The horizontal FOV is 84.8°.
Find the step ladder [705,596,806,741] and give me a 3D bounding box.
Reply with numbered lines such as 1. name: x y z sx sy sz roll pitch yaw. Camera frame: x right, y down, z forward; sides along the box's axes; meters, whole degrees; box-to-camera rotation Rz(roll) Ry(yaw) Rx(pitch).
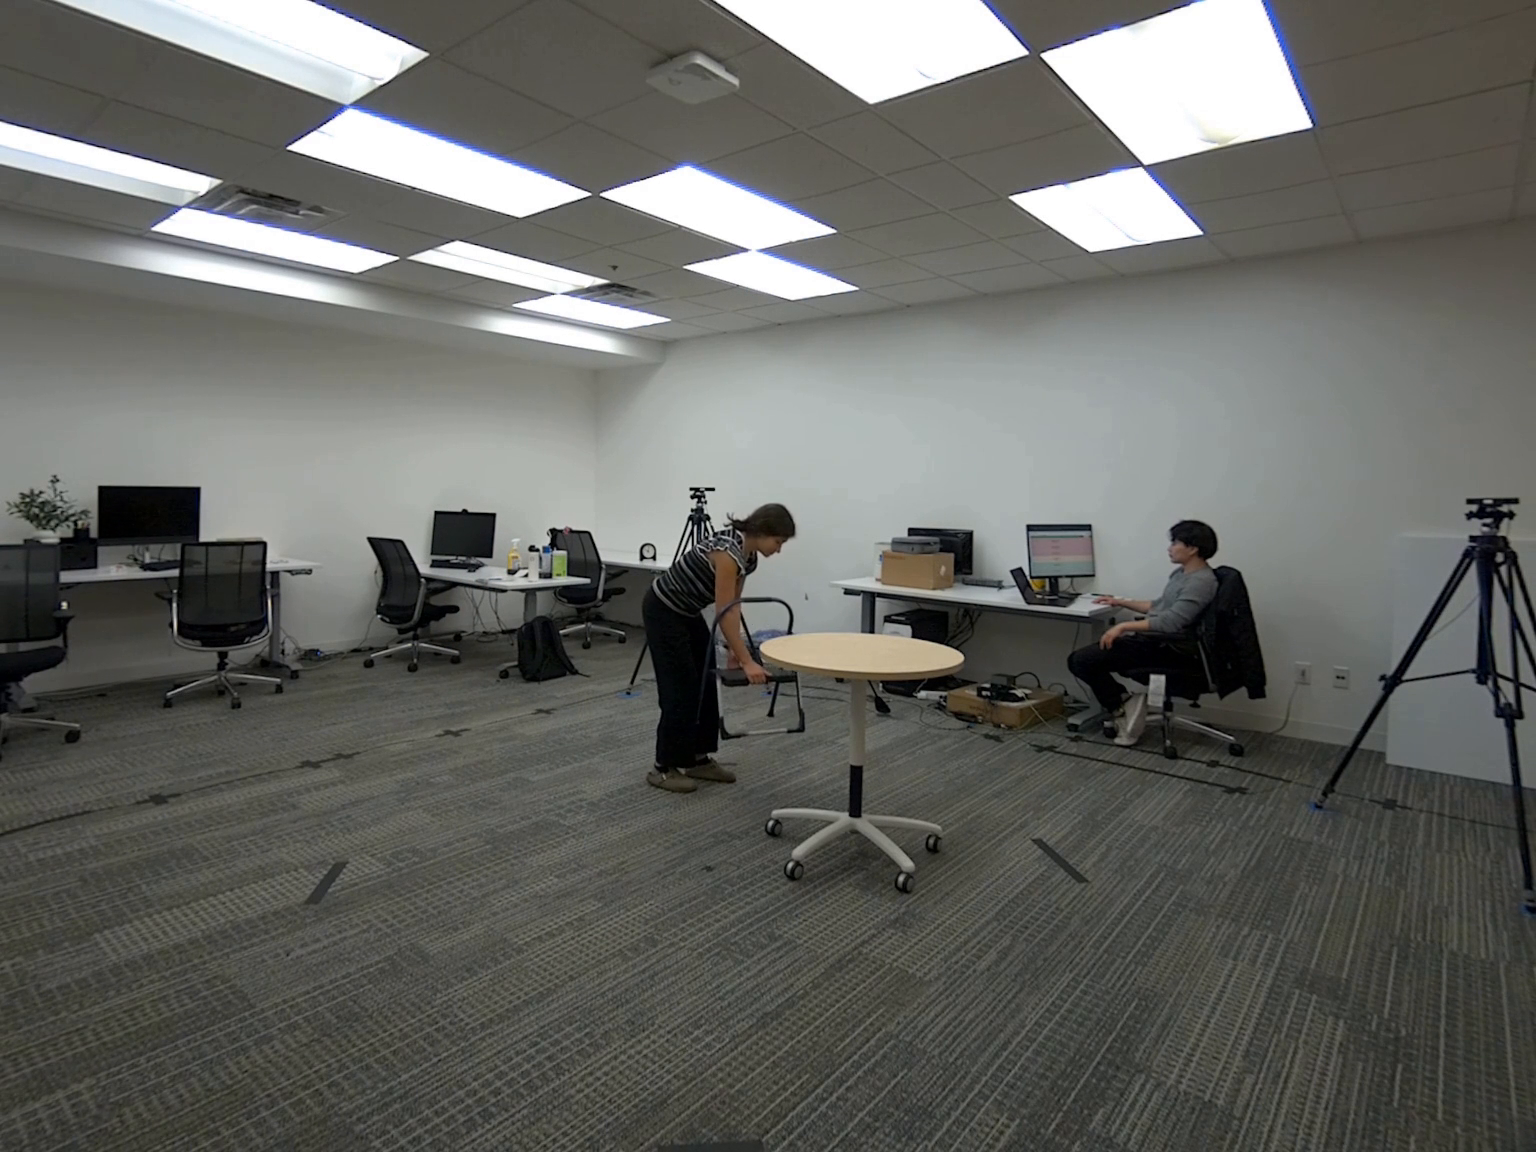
1. step ladder: -0.090 0.396 3.900 0.420 0.605 0.358 1 2 -26
